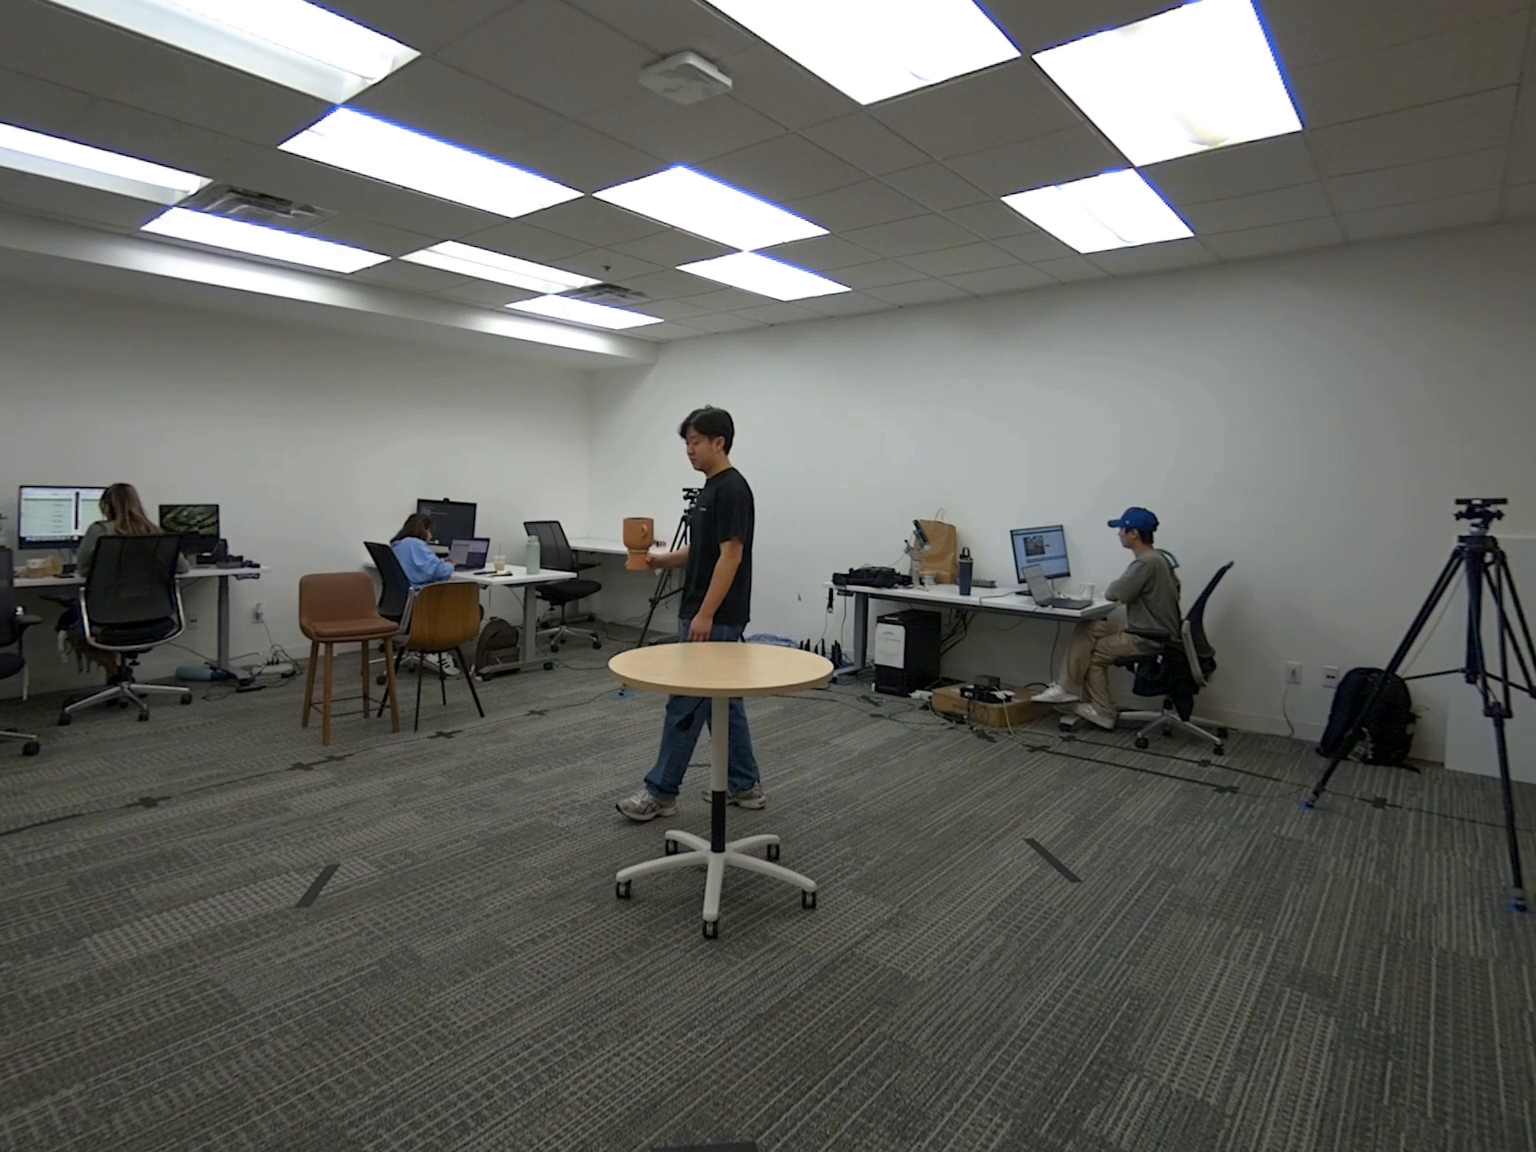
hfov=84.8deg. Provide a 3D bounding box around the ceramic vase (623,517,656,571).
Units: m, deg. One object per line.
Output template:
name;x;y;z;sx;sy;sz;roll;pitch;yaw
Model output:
ceramic vase;-0.573;-0.146;3.698;0.137;0.219;0.157;2;6;12
